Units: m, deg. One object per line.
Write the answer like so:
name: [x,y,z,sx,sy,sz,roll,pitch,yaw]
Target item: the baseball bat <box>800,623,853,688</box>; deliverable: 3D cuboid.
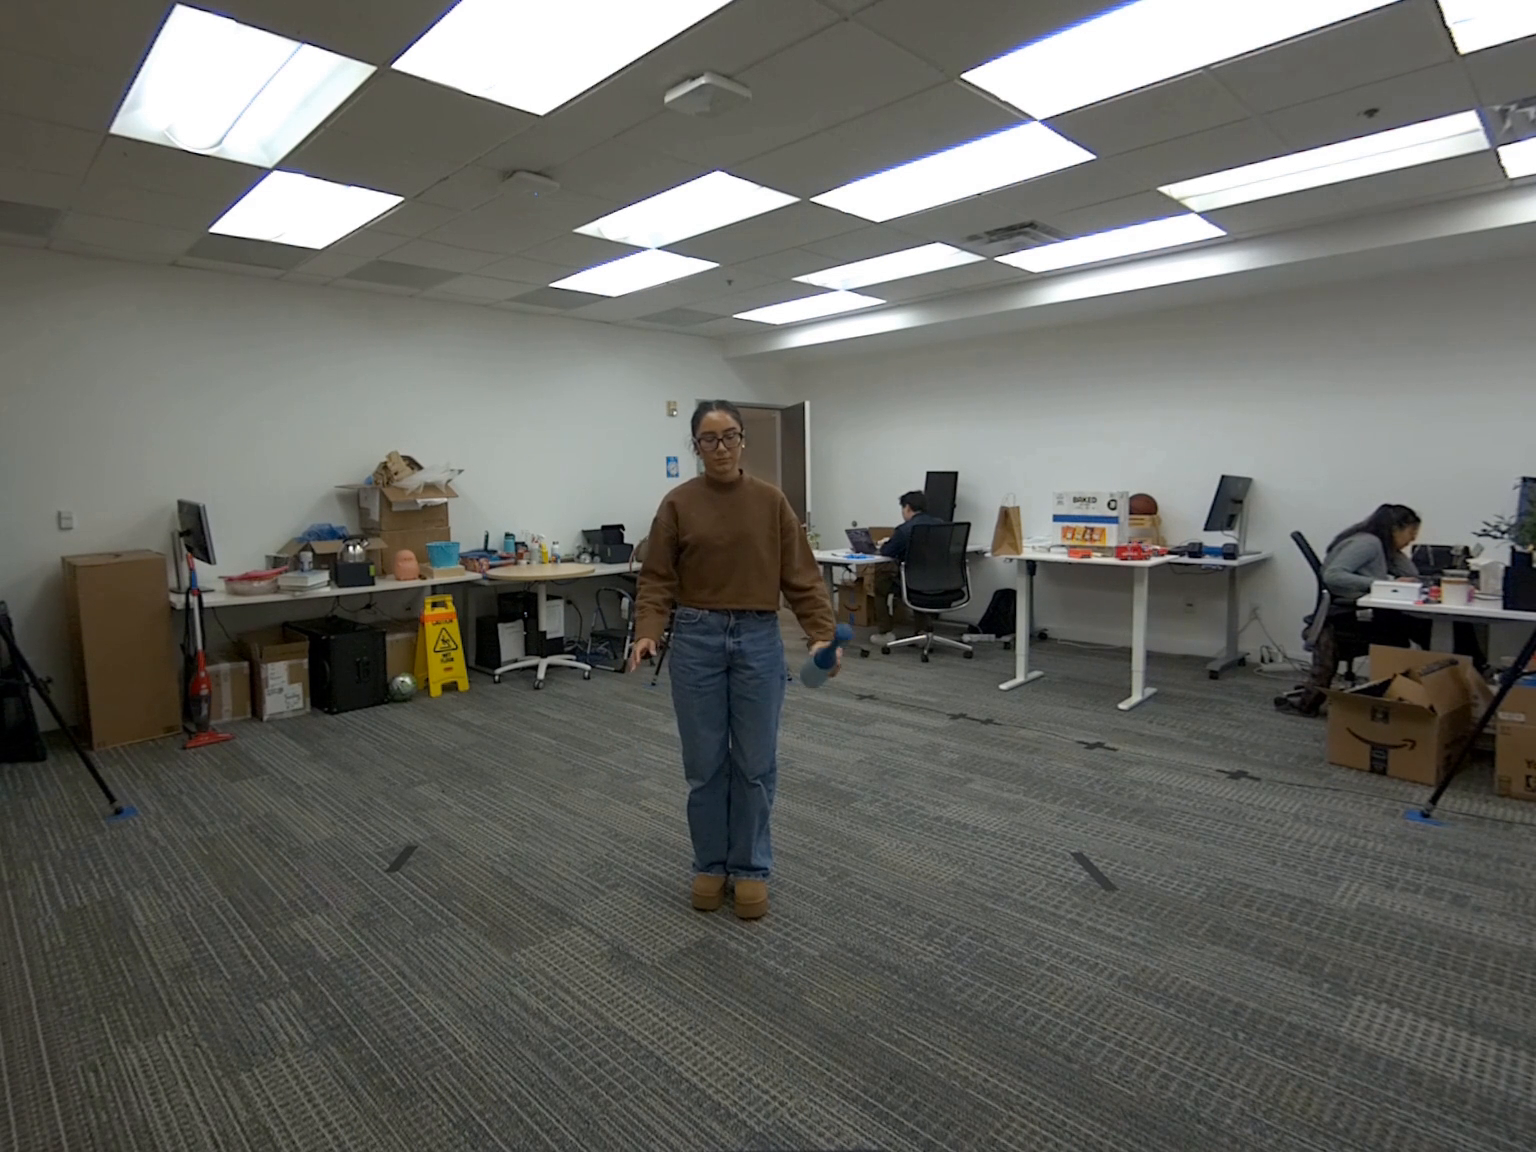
baseball bat: [0.169,0.240,2.508,0.088,0.090,0.539,-1,-13,-9]
